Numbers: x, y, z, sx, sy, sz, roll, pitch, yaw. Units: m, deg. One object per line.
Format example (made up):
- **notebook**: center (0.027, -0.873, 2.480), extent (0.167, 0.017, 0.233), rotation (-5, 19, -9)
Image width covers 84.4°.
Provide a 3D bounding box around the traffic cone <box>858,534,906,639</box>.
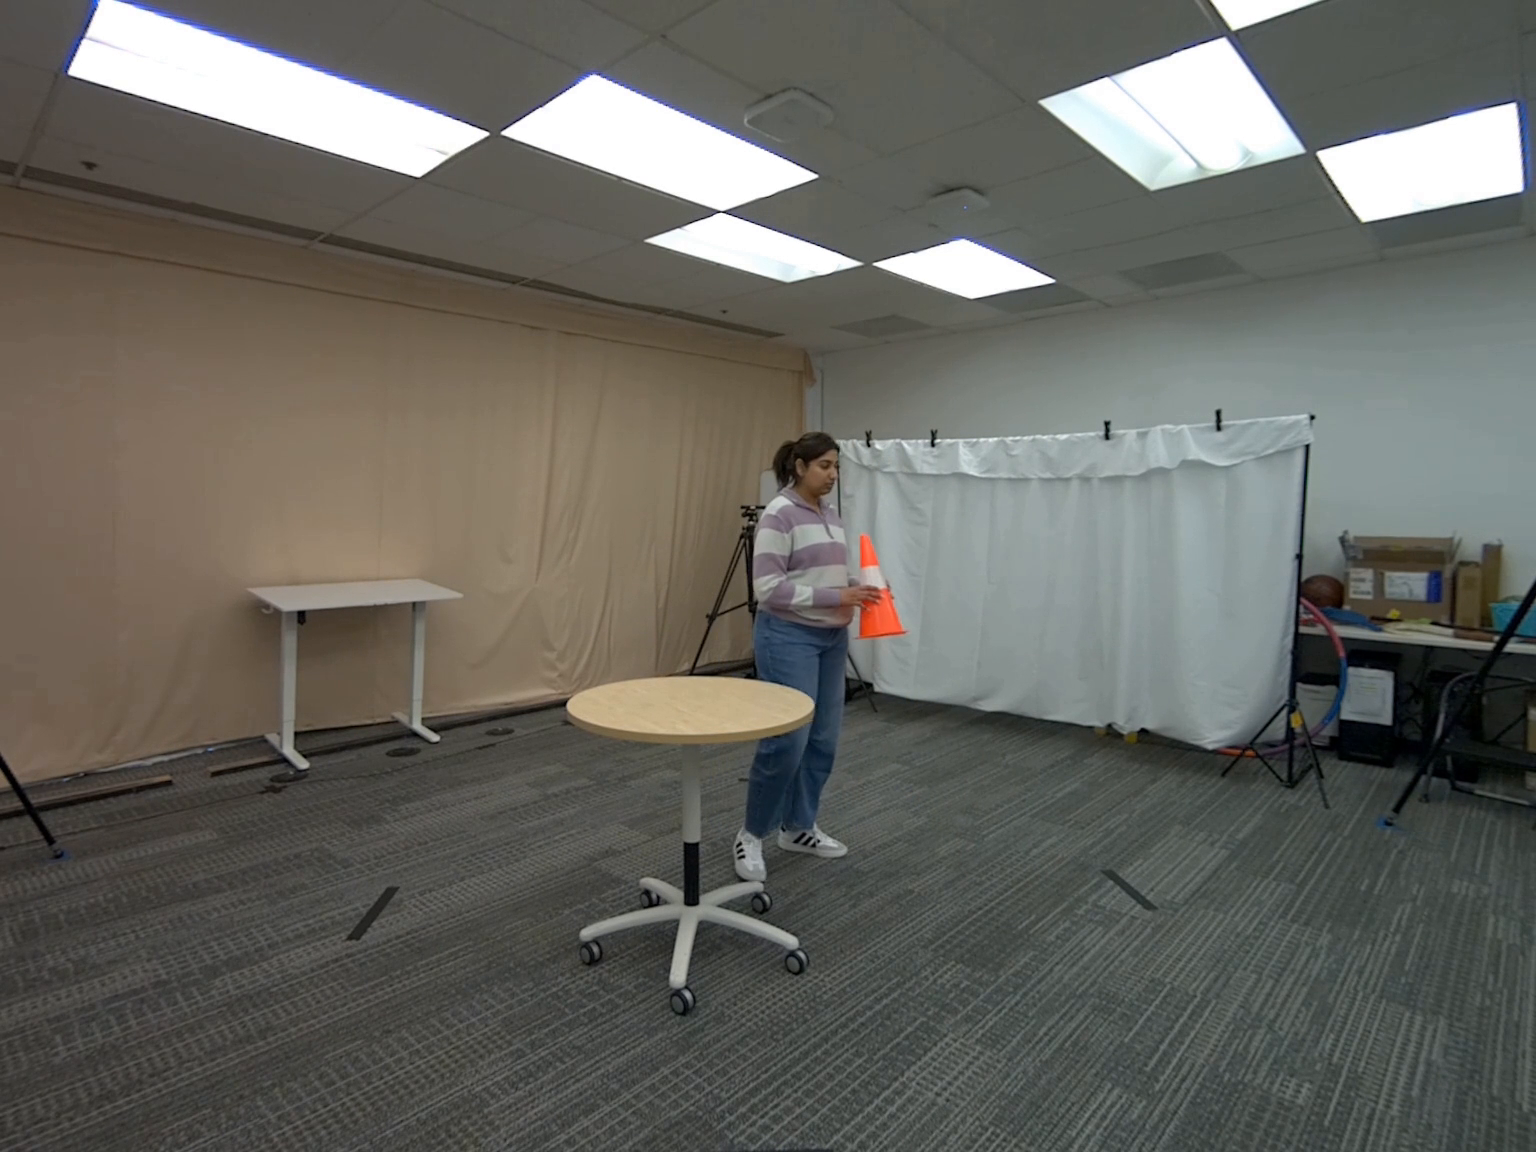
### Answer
- **traffic cone**: center (0.385, 0.040, 3.144), extent (0.204, 0.386, 0.203), rotation (-7, -8, -4)
